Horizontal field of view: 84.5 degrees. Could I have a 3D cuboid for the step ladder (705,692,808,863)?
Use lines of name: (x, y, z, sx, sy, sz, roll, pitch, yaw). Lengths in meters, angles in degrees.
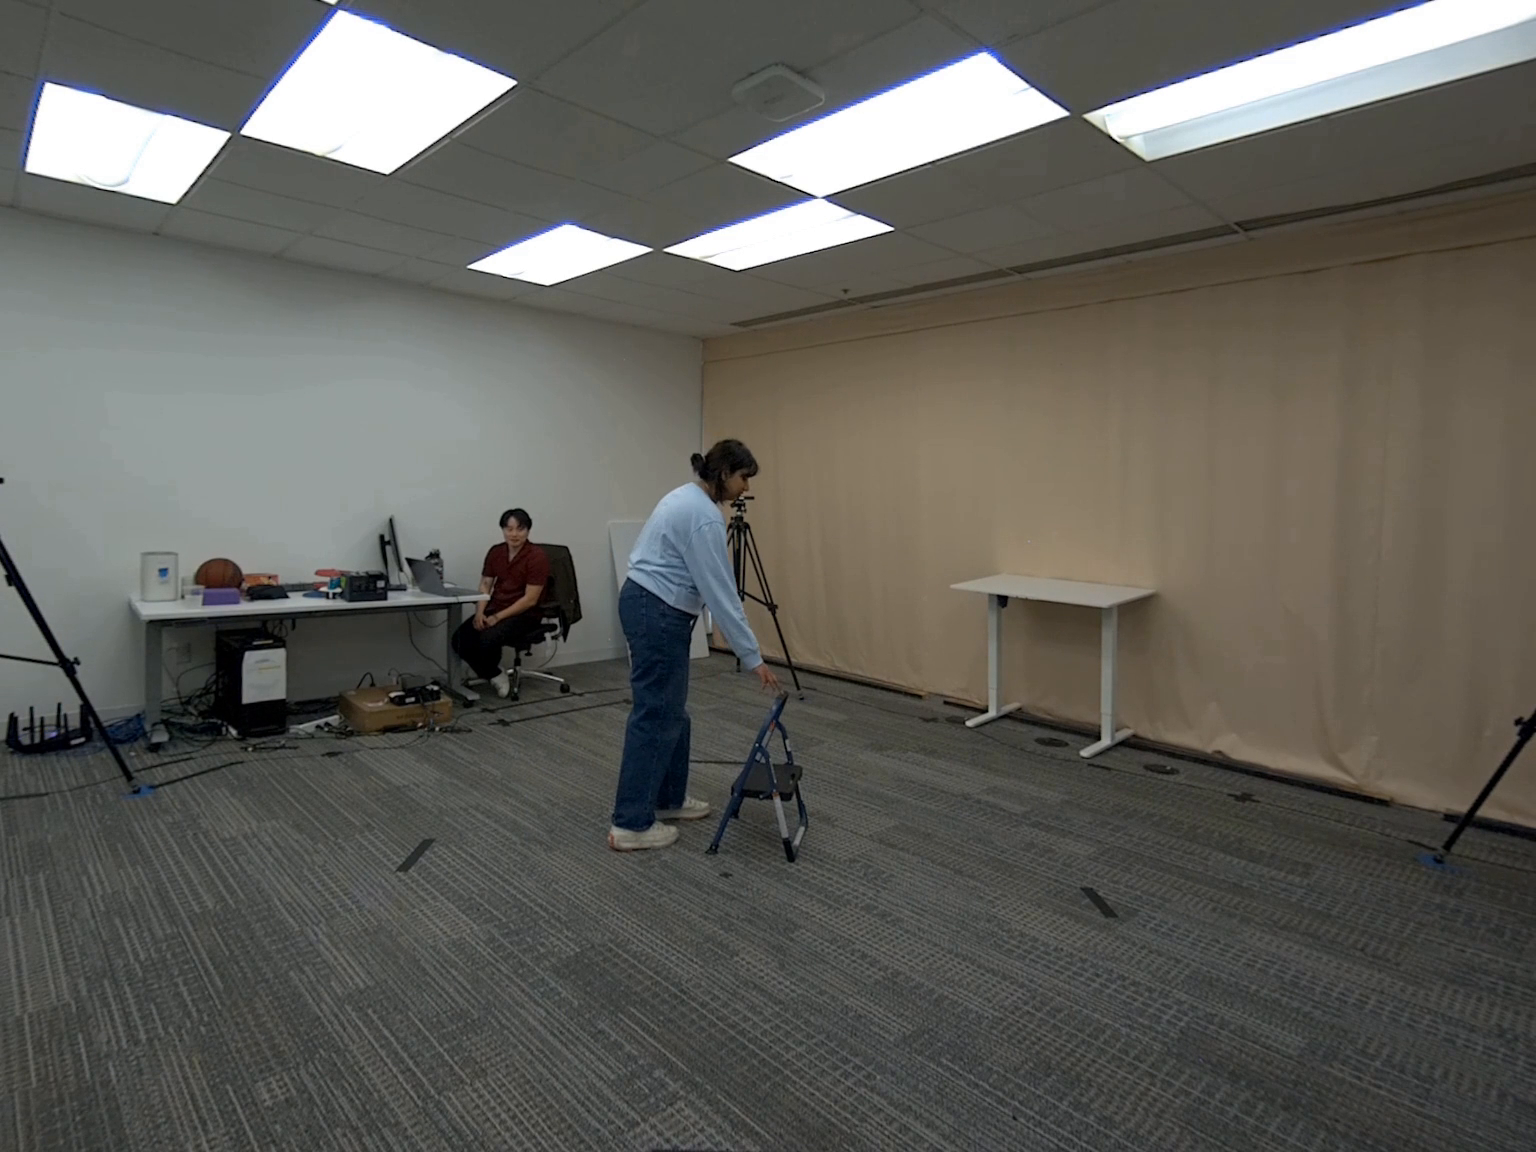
step ladder: (-0.032, 0.776, 3.442, 0.353, 0.604, 0.427, 1, 4, 11)
